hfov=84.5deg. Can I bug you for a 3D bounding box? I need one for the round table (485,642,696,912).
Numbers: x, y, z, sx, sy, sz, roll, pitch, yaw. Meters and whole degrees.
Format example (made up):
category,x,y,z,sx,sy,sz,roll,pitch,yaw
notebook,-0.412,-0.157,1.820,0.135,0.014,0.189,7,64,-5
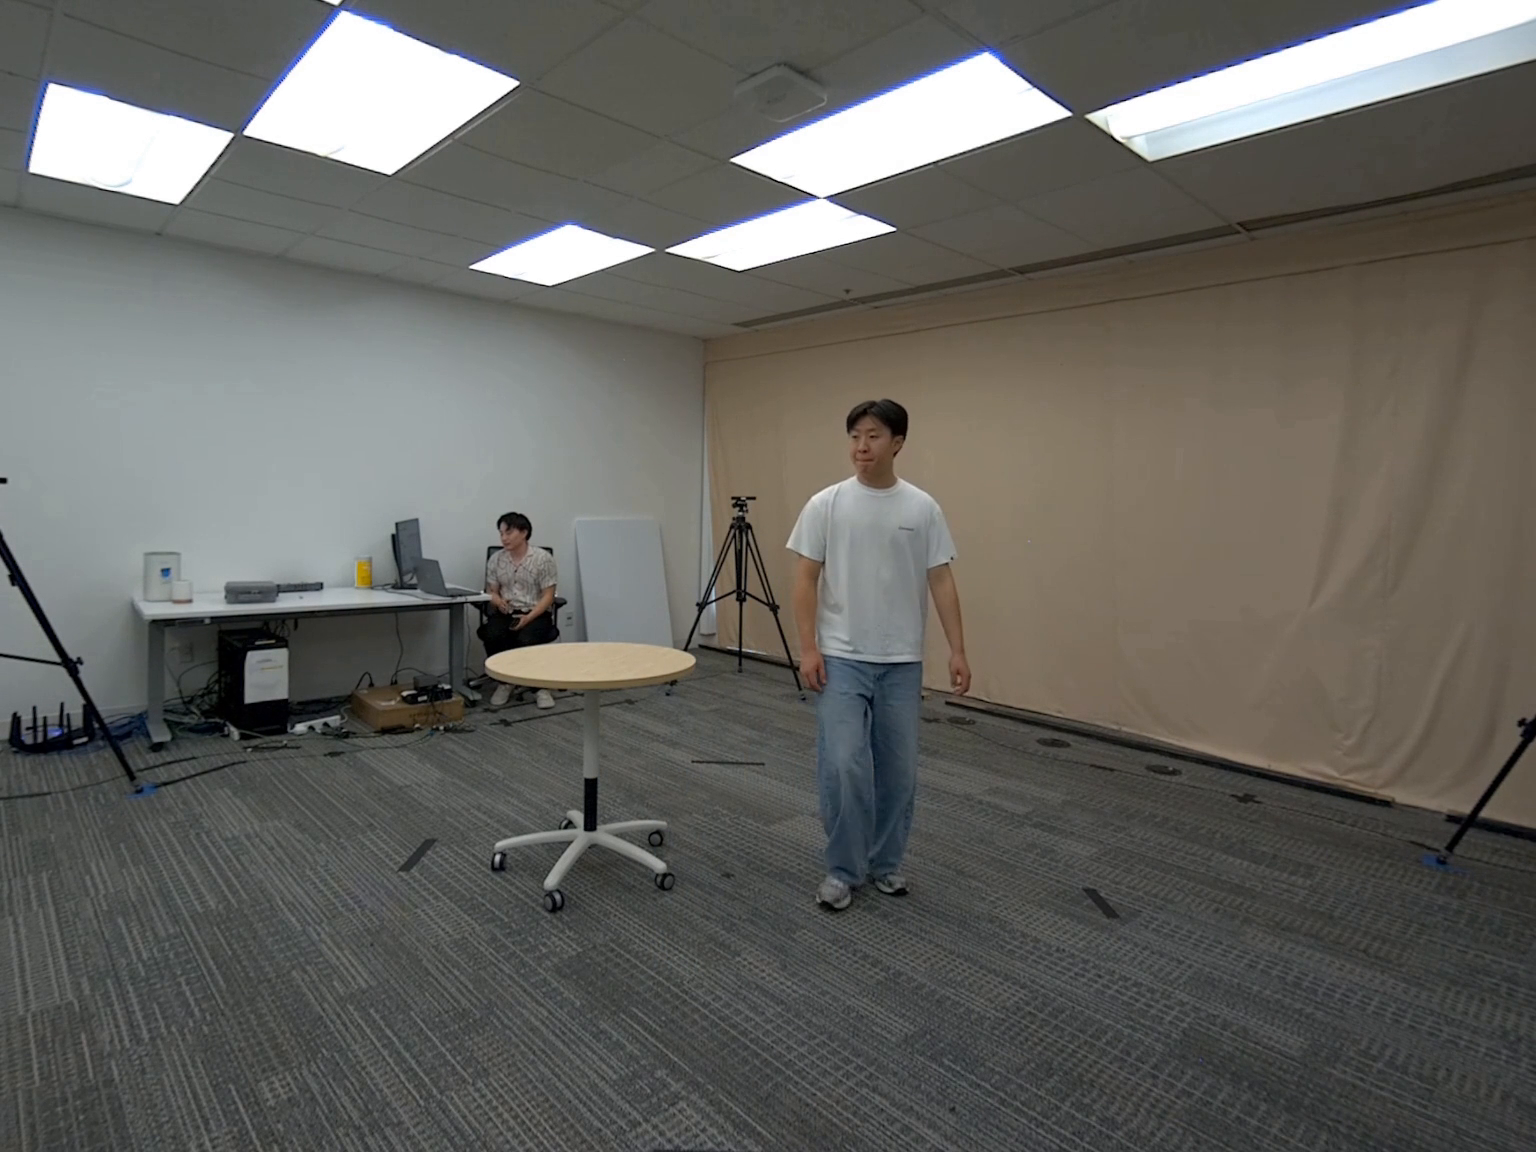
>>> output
category,x,y,z,sx,sy,sz,roll,pitch,yaw
round table,-0.664,0.694,3.146,0.784,0.784,0.788,1,4,-1
